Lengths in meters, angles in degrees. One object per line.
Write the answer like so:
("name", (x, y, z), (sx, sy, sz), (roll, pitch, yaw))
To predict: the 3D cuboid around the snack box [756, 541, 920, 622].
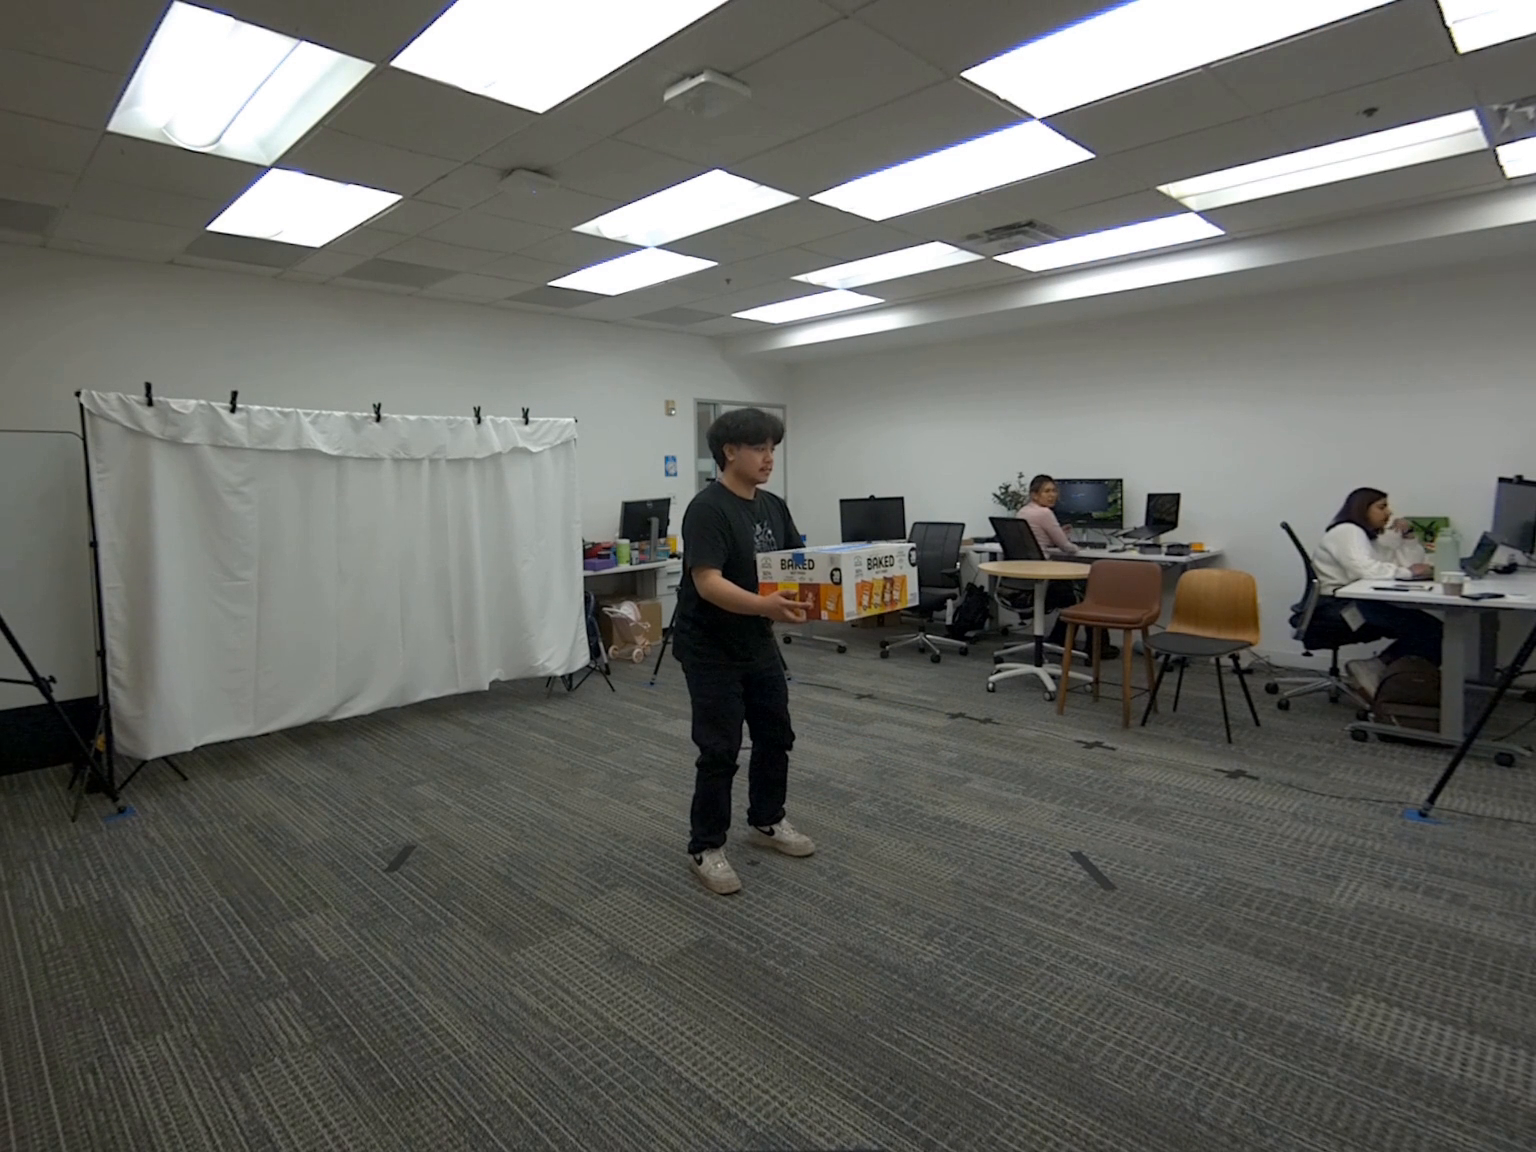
("snack box", (0.223, 0.014, 2.753), (0.350, 0.205, 0.394), (1, 5, 43))
